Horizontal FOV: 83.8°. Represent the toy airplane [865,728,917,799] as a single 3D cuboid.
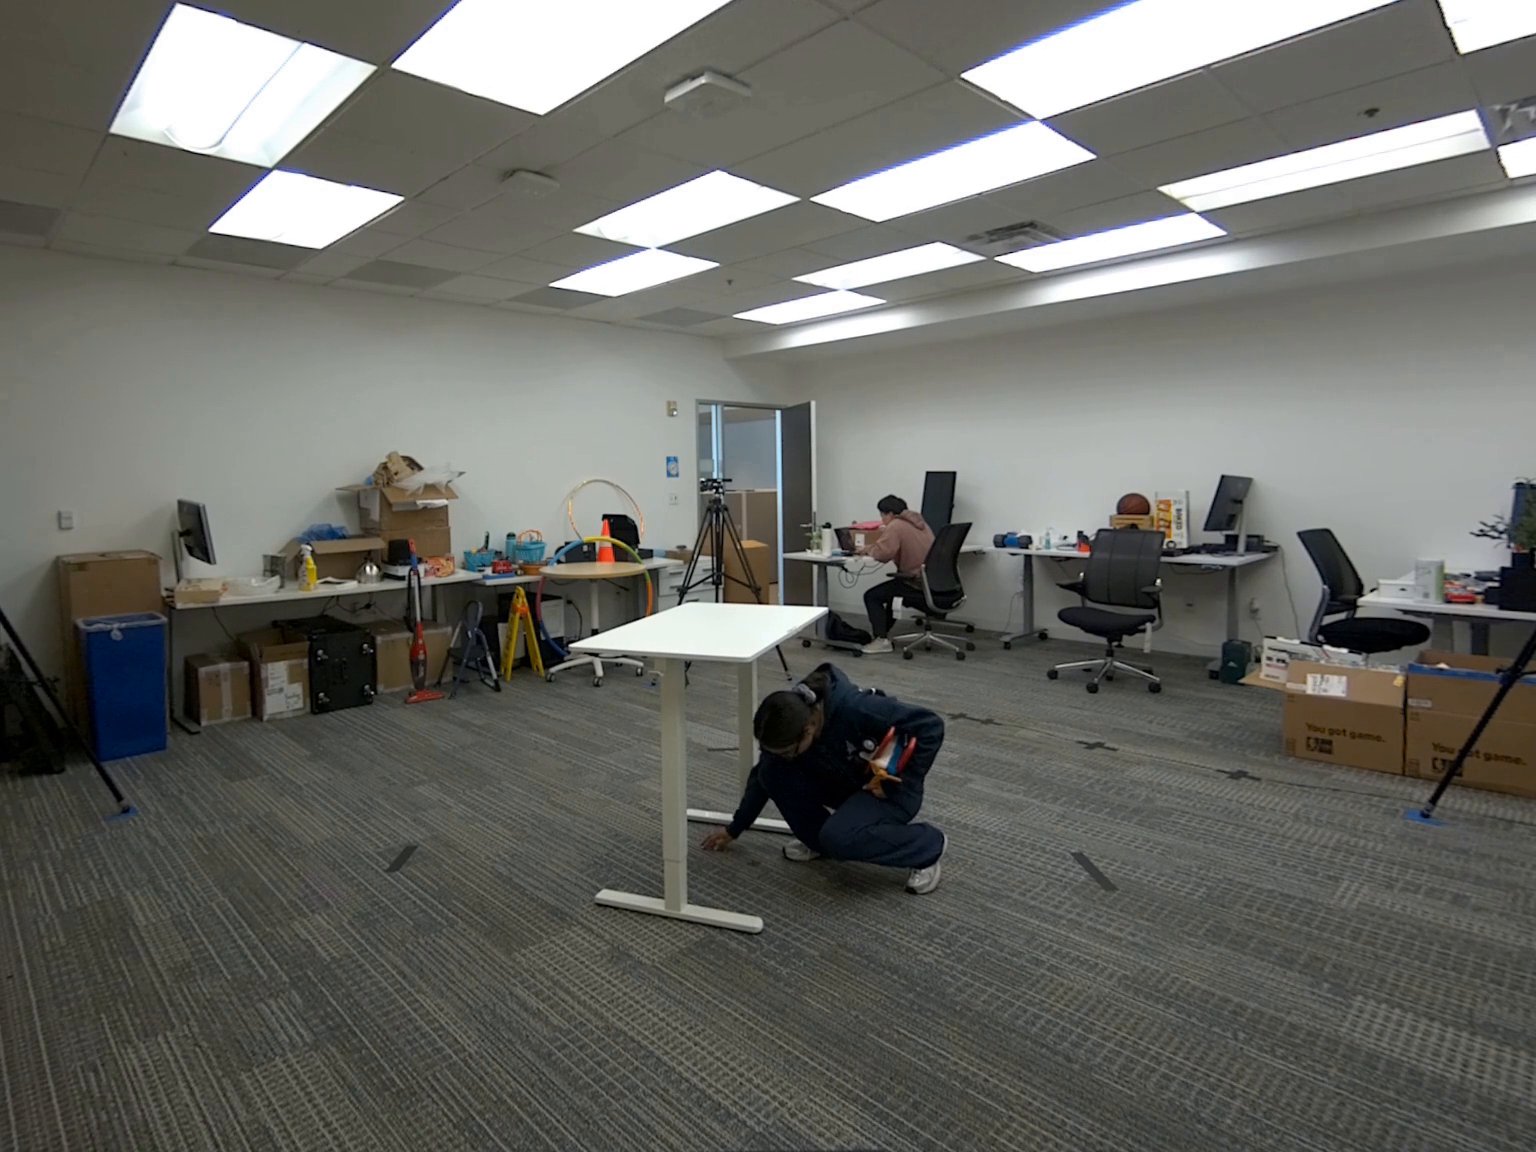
[{"bbox_3d":[0.413,0.561,2.887,0.160,0.259,0.244,38,-12,19],"label":"toy airplane"}]
